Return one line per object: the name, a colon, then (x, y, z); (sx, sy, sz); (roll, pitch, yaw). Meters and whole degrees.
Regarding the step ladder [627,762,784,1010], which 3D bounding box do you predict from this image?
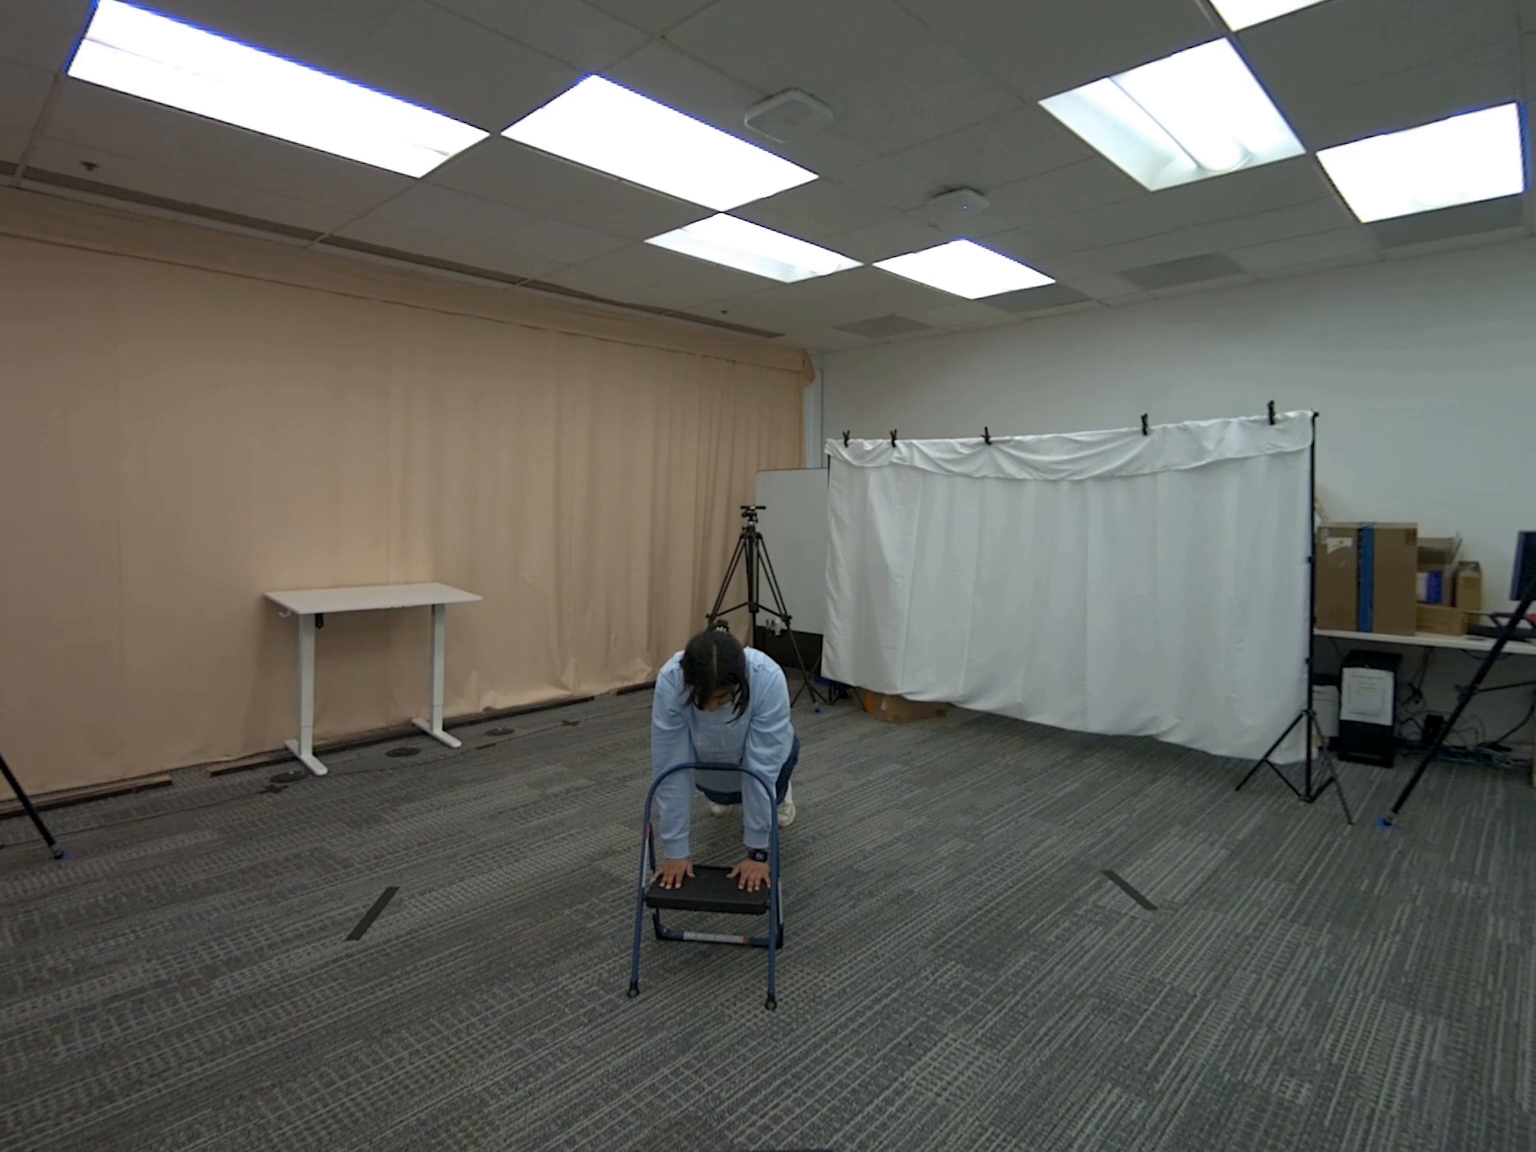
step ladder: (-0.171, 0.880, 2.517); (0.434, 0.605, 0.347); (1, 3, 7)
